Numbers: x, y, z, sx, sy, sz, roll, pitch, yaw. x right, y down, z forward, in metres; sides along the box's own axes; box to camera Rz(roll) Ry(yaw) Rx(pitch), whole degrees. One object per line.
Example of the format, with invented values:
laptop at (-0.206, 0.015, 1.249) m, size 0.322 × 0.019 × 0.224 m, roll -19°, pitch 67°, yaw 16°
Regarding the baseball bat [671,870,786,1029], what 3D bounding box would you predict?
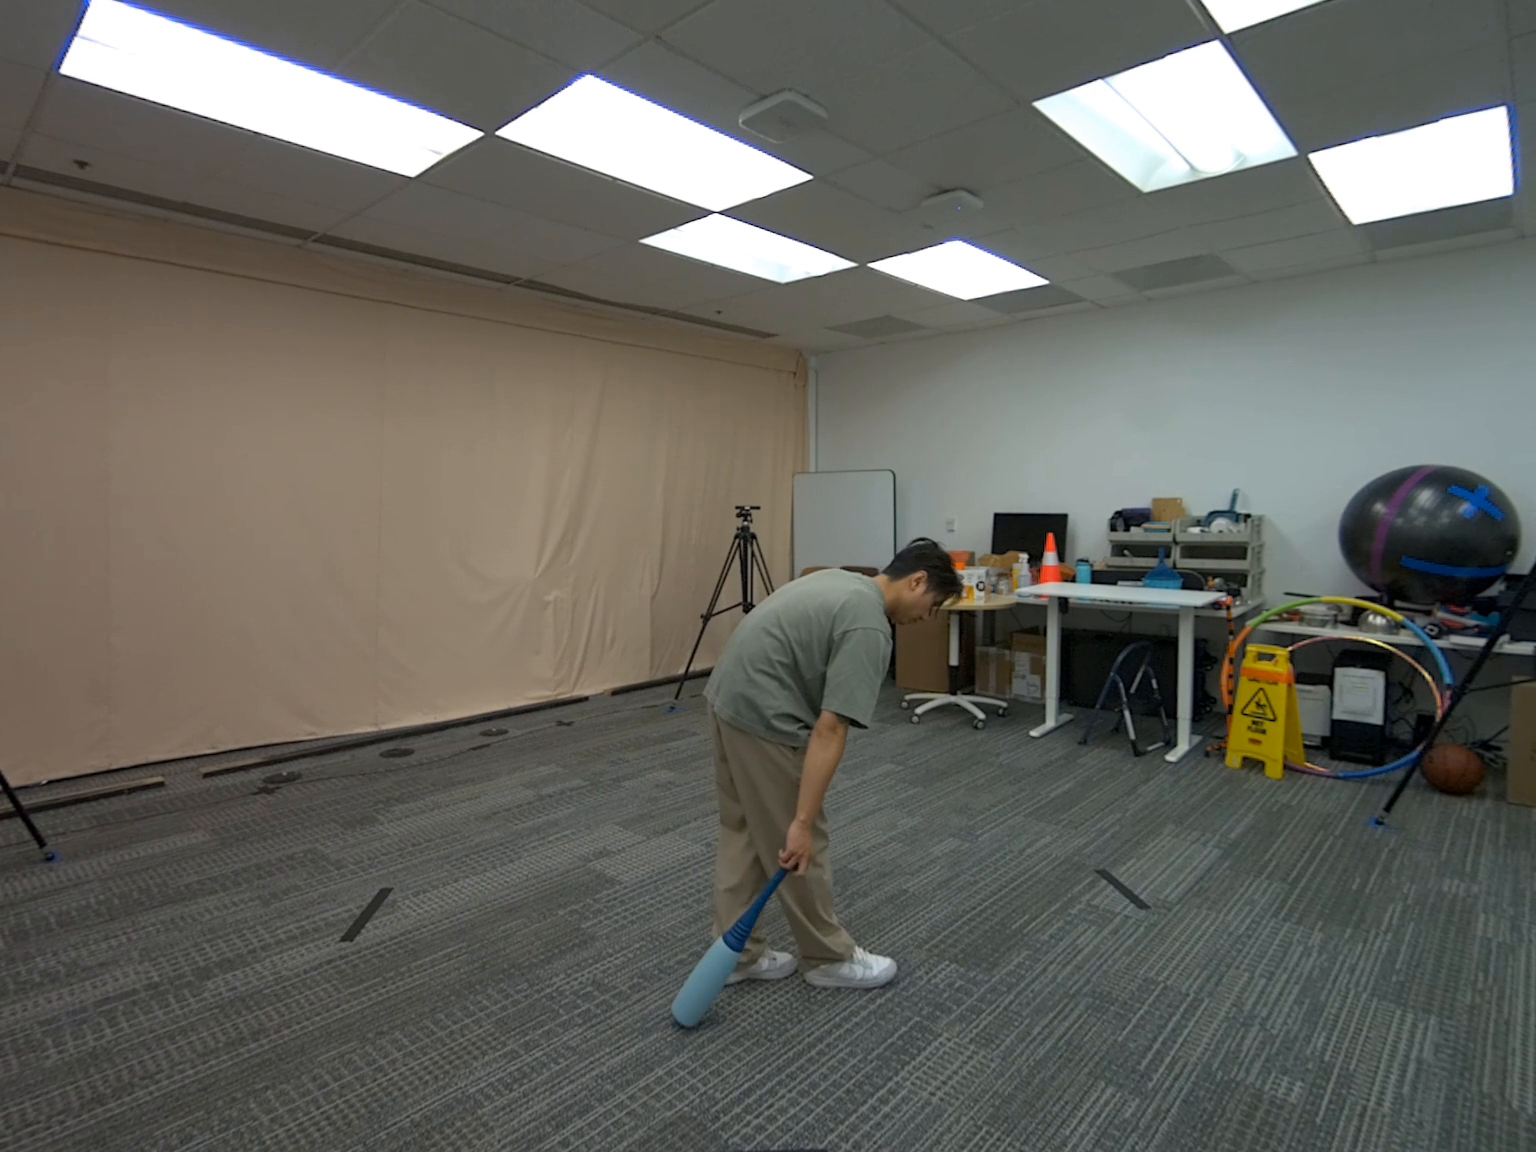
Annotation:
baseball bat at (-0.084, 0.967, 2.243) m, size 0.088 × 0.543 × 0.089 m, roll 33°, pitch 5°, yaw -6°
